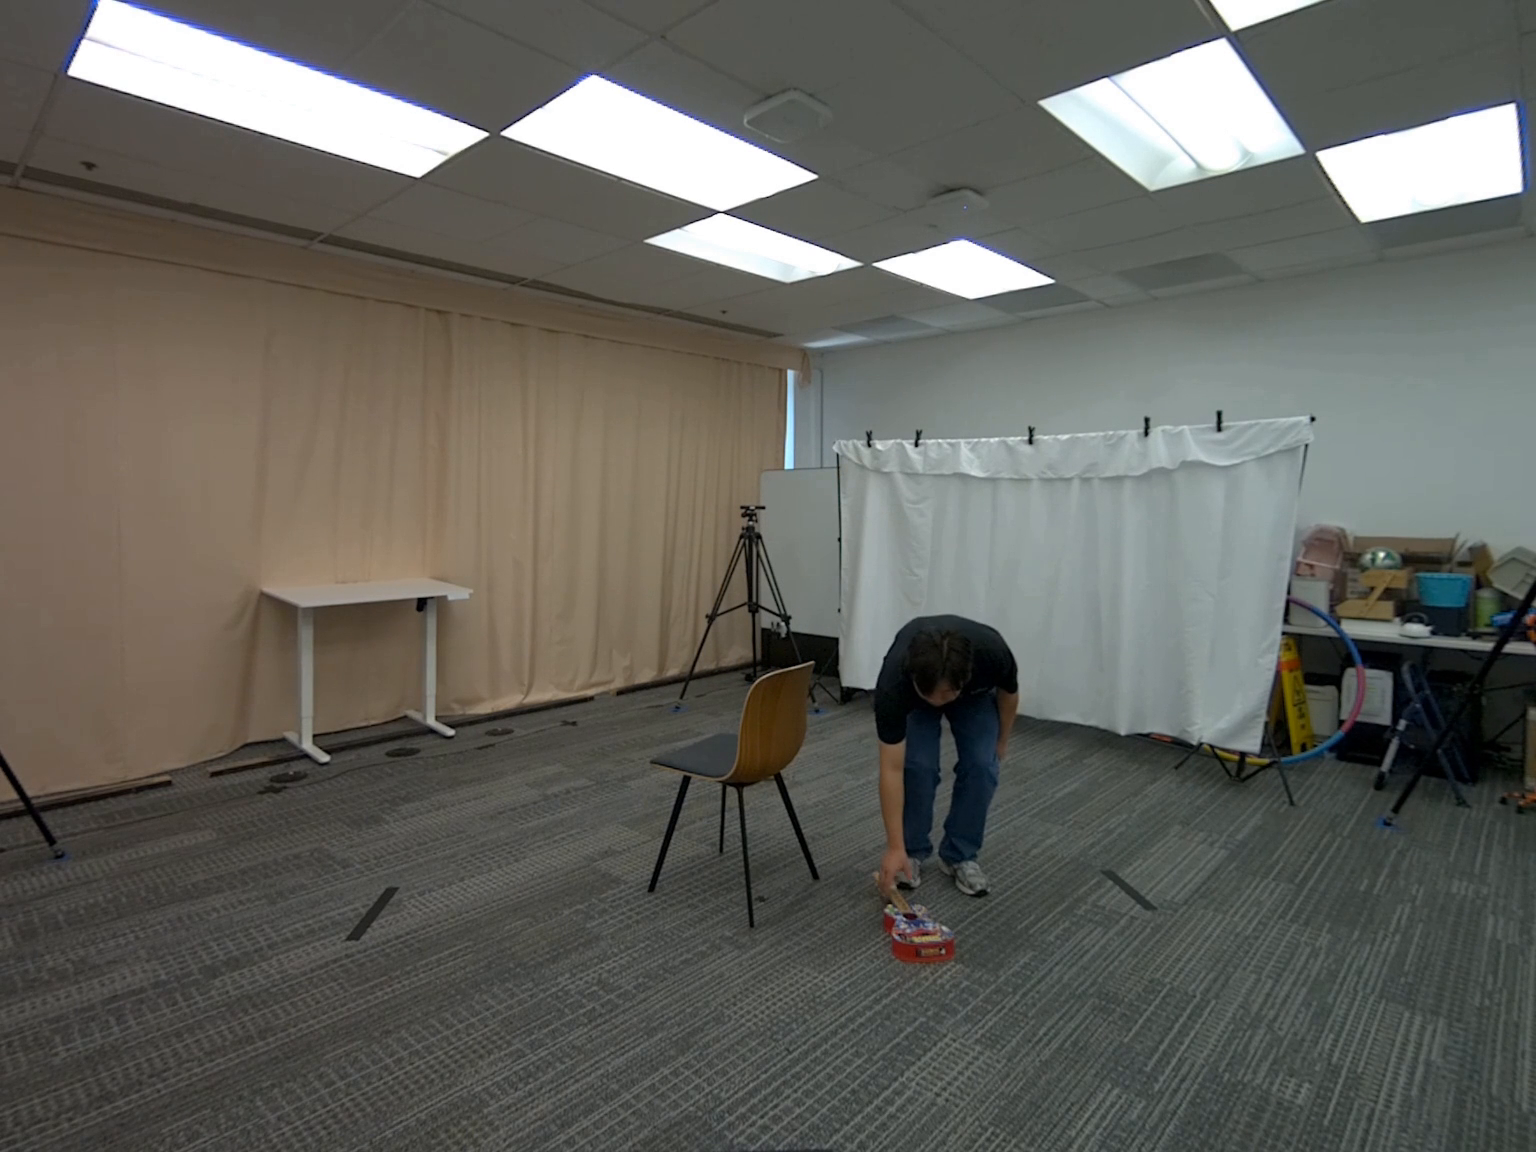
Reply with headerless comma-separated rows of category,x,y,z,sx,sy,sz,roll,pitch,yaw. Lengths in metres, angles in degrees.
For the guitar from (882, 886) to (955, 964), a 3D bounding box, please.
guitar,0.480,1.121,2.806,0.193,0.070,0.499,-1,5,-1
